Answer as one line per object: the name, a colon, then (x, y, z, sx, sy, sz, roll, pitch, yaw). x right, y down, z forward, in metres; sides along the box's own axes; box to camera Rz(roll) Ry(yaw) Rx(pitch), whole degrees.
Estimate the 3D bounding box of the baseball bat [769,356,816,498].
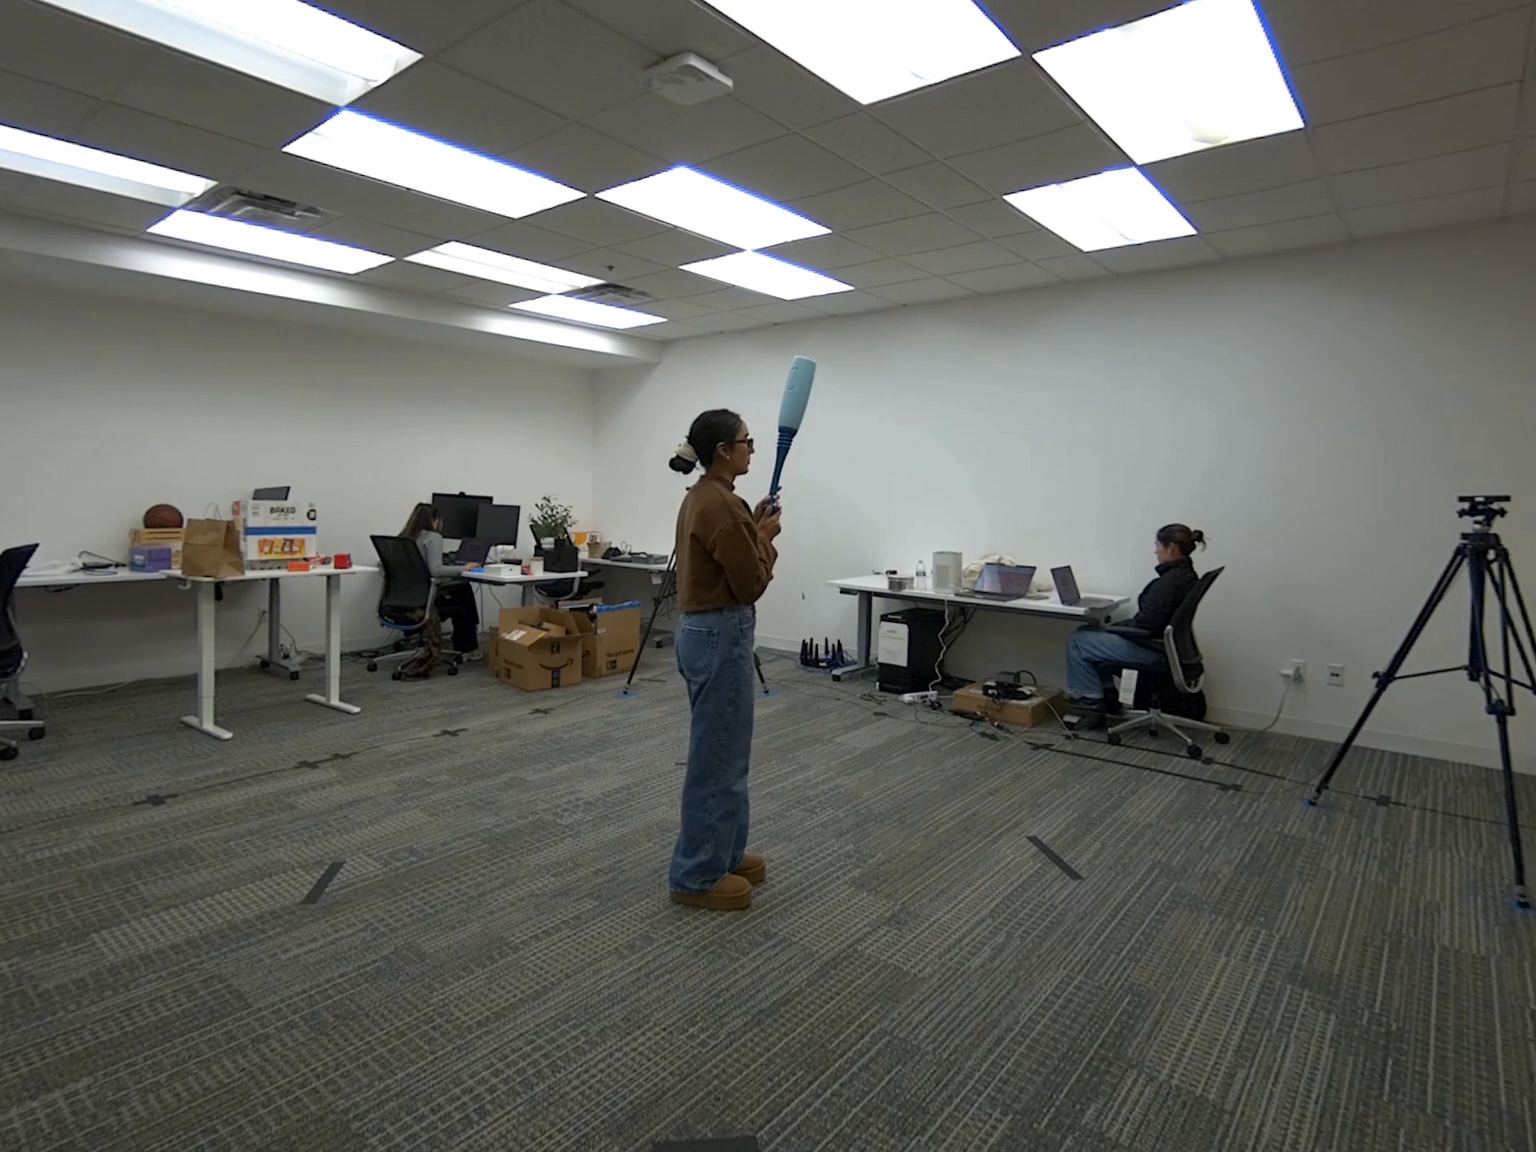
baseball bat: (0.052, -0.485, 2.903, 0.089, 0.544, 0.089, 14, -3, -2)
